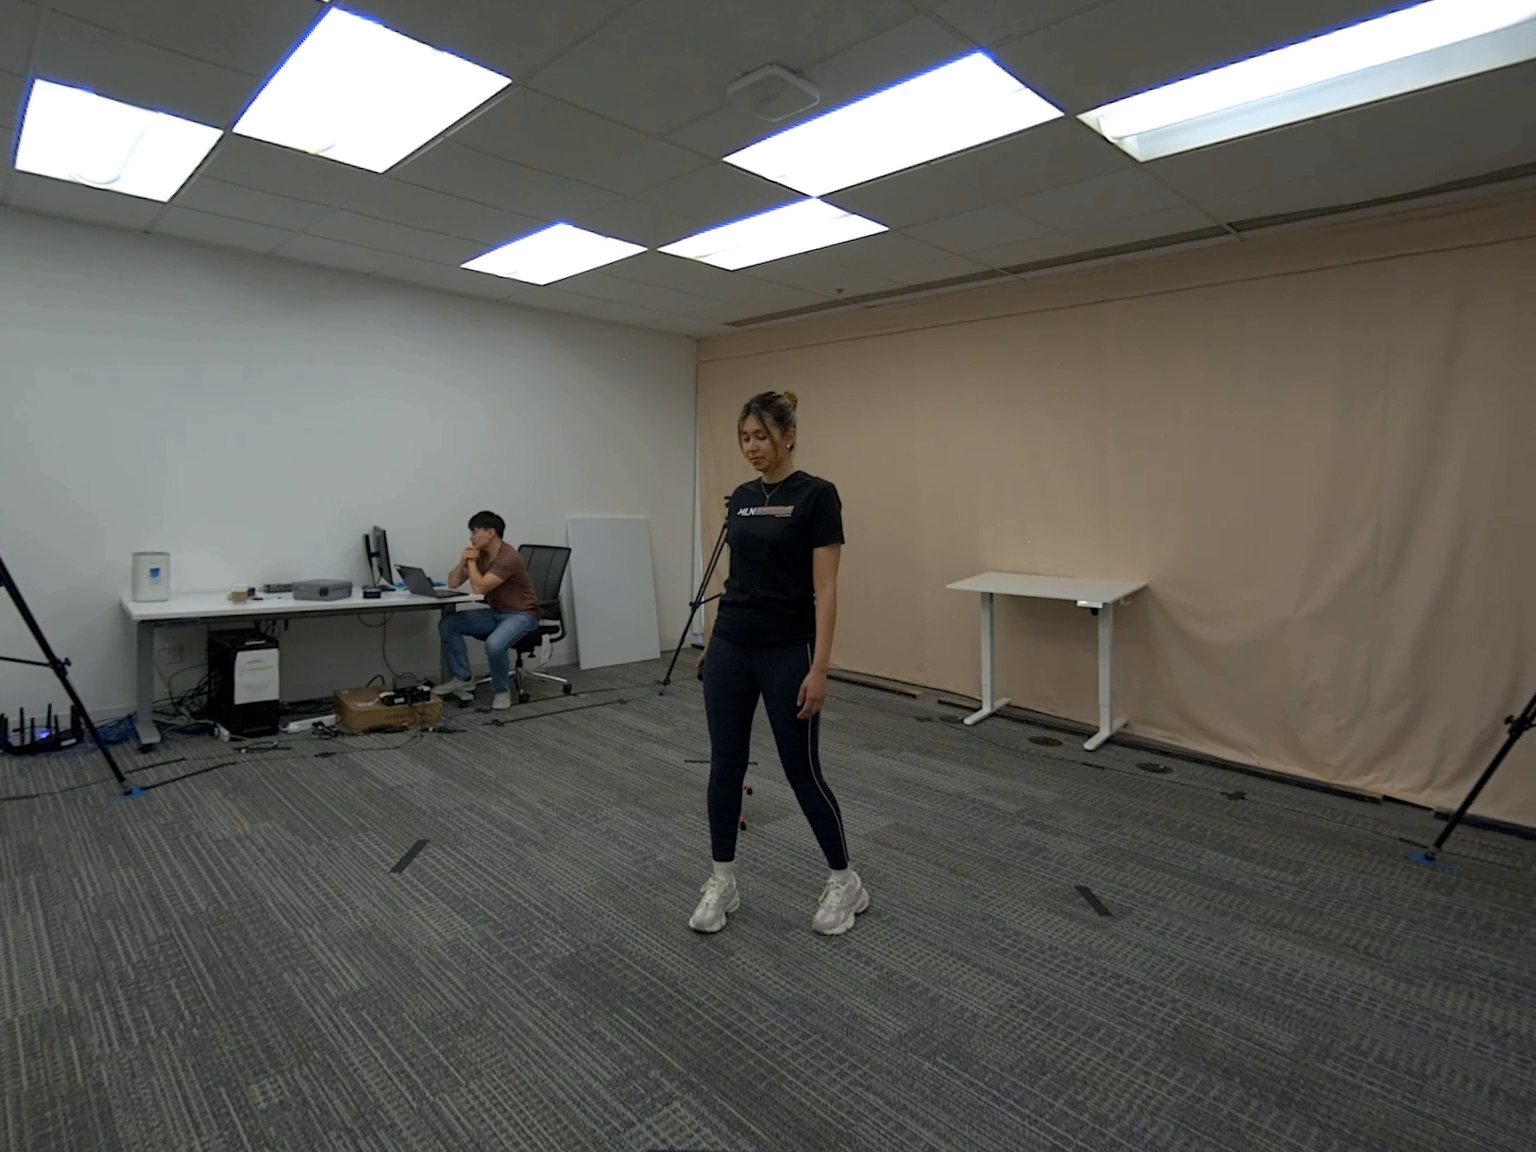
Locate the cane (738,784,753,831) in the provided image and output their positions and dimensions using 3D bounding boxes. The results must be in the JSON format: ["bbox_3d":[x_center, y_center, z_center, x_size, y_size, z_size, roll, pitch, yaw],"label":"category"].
[{"bbox_3d":[-0.182,0.658,3.359,0.152,0.887,0.210,2,38,7],"label":"cane"}]
